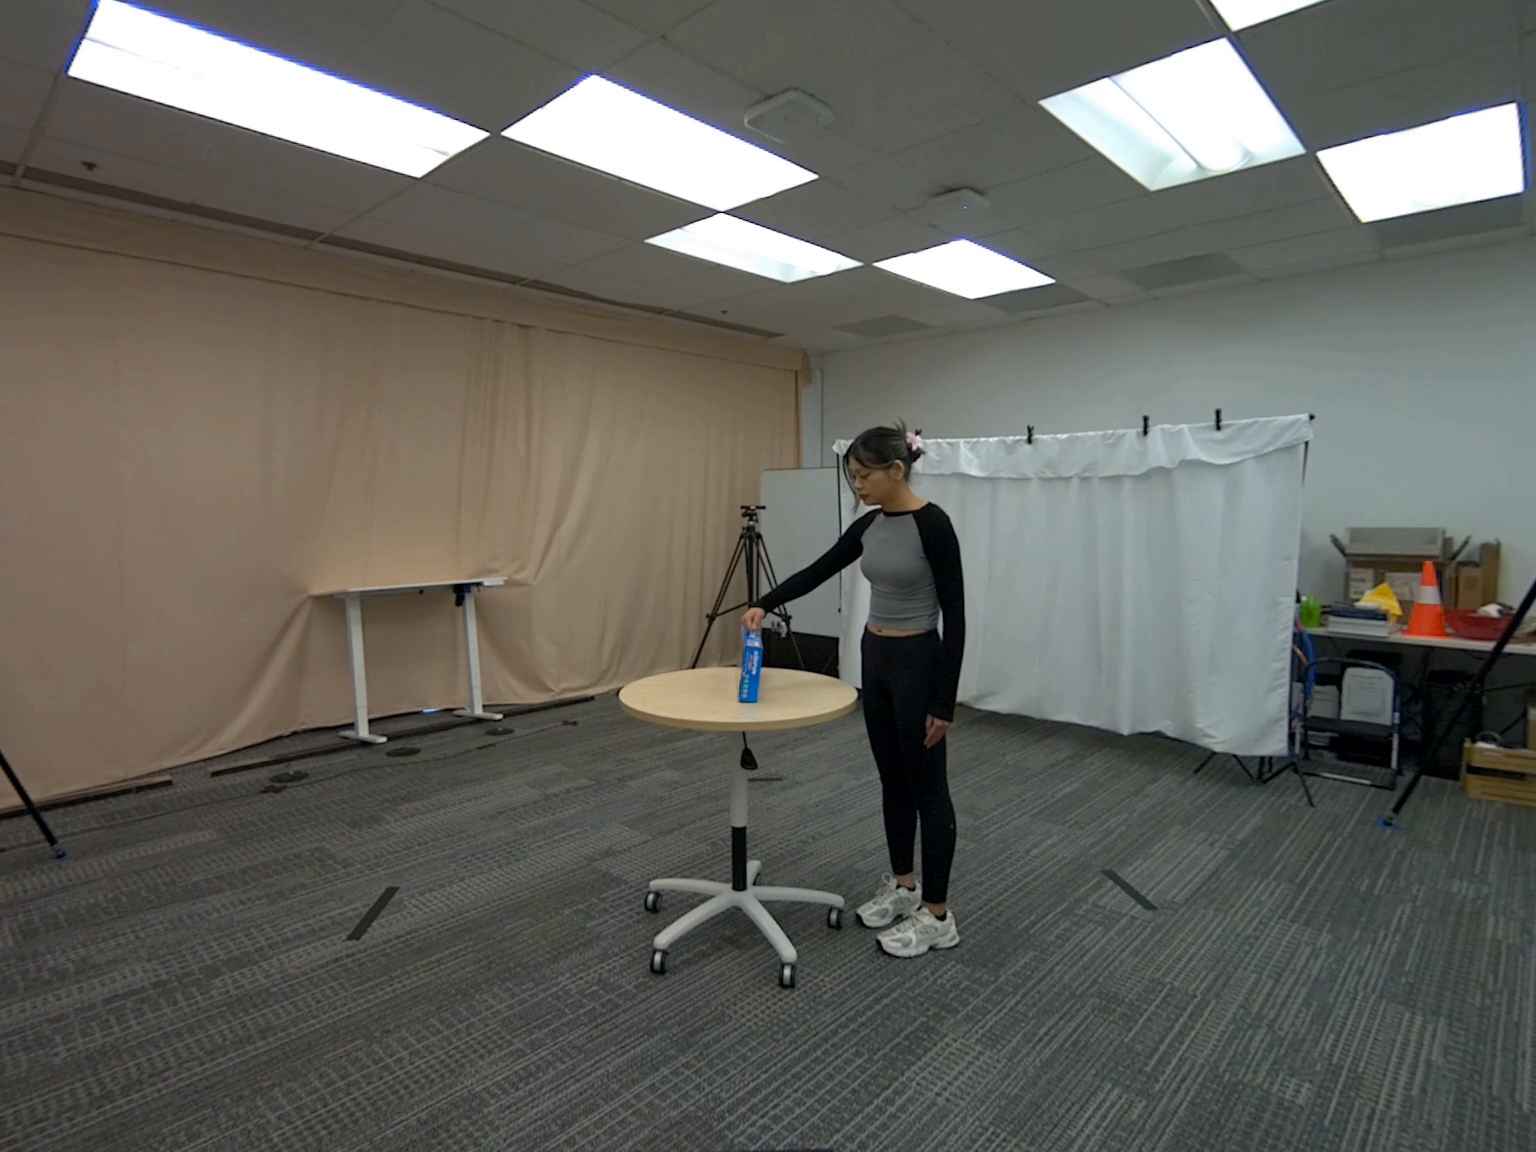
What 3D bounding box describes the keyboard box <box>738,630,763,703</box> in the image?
[{"bbox_3d":[-0.053,0.270,2.771,0.059,0.175,0.439,4,5,-4],"label":"keyboard box"}]
